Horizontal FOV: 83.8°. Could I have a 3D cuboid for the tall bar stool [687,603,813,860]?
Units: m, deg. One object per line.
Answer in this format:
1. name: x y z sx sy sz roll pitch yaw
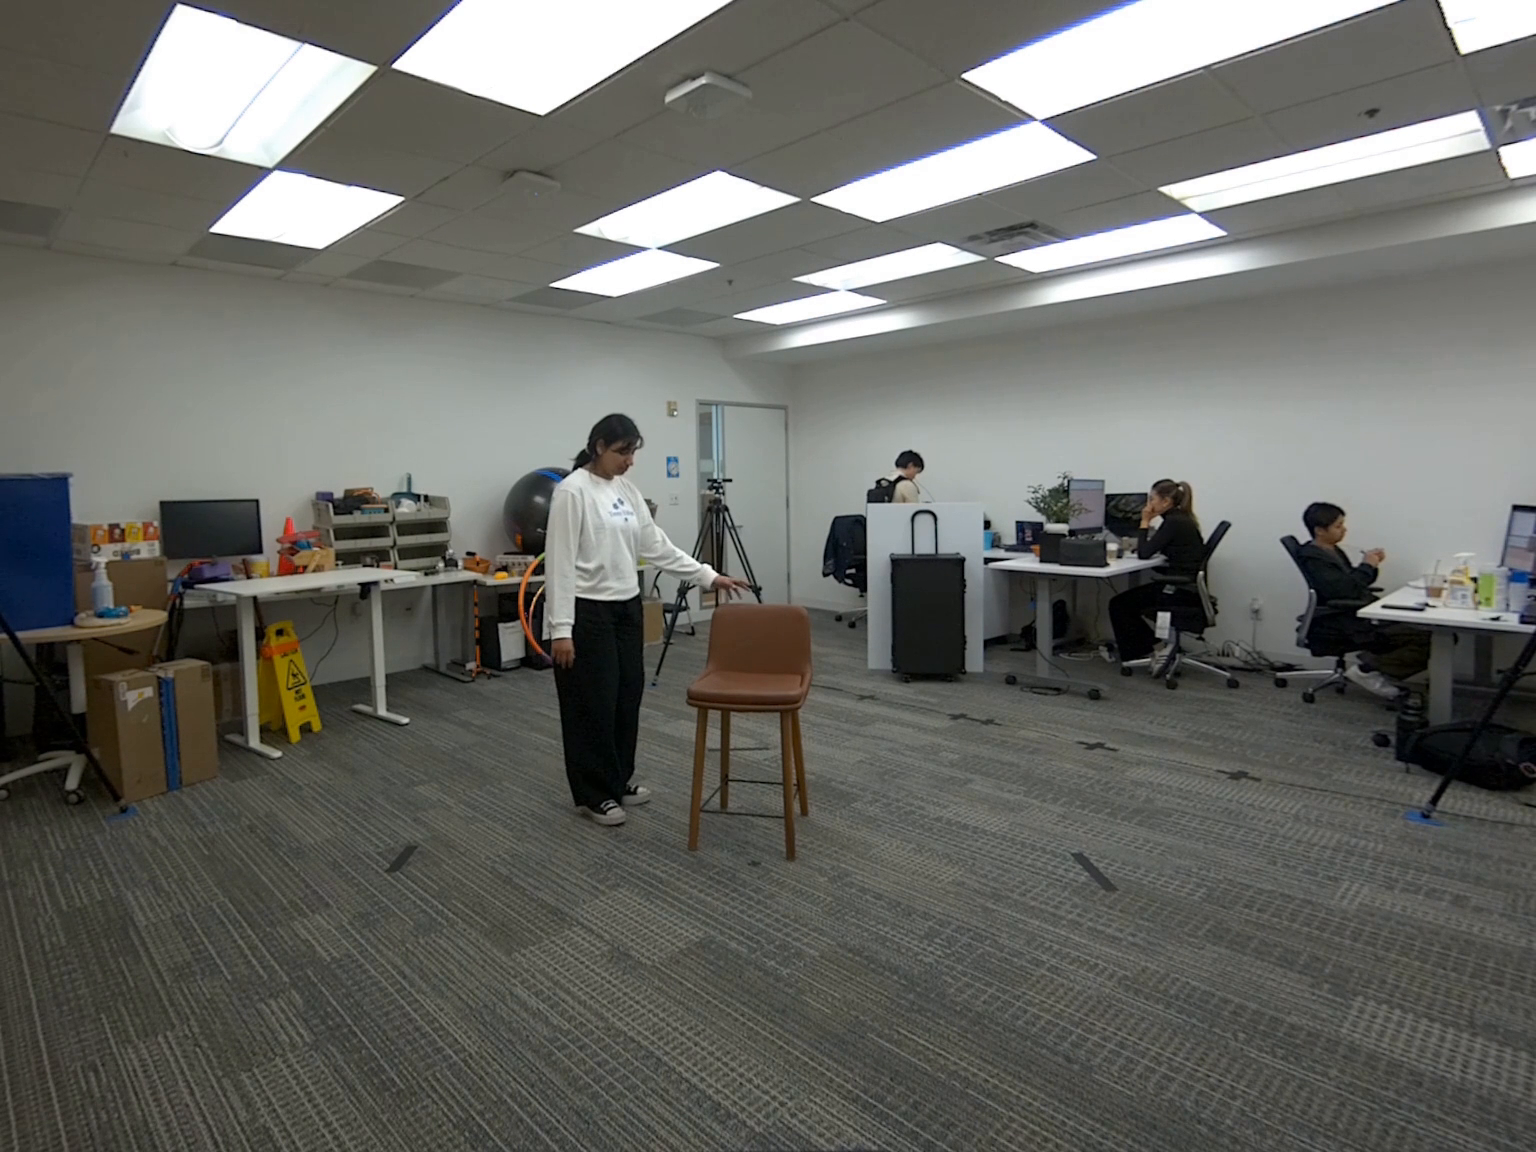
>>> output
1. tall bar stool: -0.068 0.582 3.369 0.463 0.888 0.462 0 2 14
